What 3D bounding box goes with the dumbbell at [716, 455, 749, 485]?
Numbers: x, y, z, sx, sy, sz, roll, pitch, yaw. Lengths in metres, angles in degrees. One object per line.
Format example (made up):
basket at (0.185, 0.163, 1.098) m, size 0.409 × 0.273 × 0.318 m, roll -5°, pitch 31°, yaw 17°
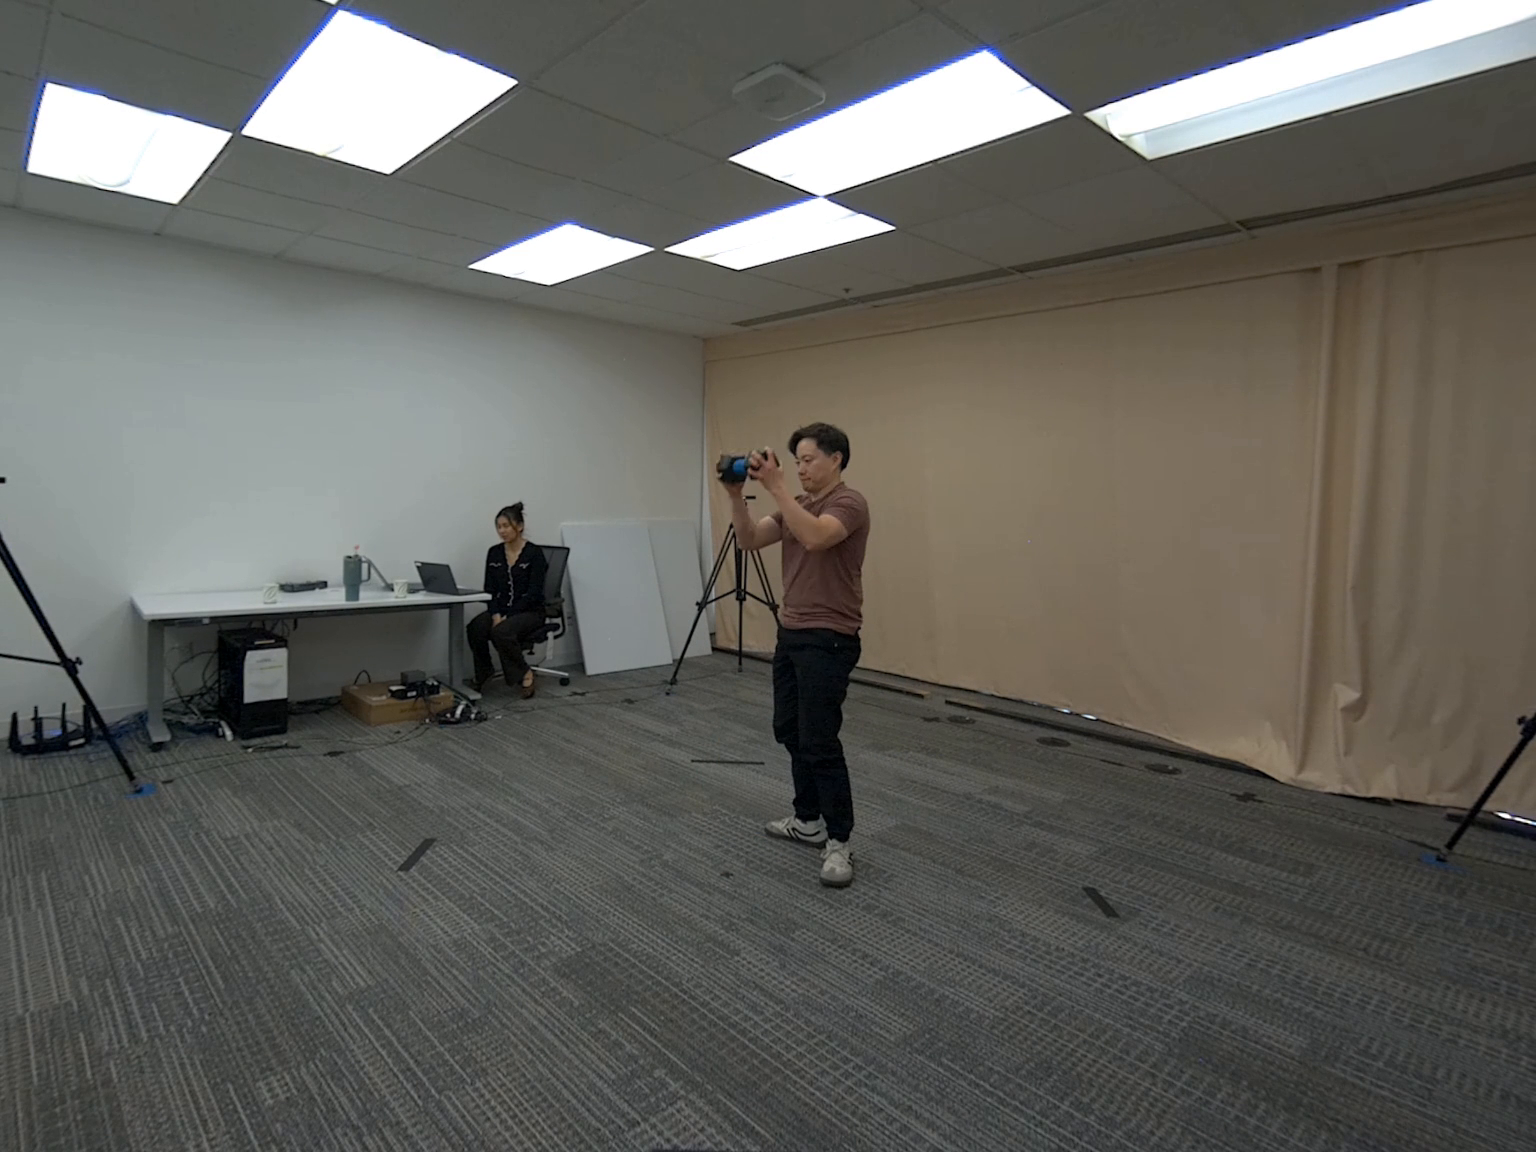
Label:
dumbbell at (-0.077, -0.397, 3.139) m, size 0.108 × 0.120 × 0.300 m, roll -42°, pitch 23°, yaw -21°
